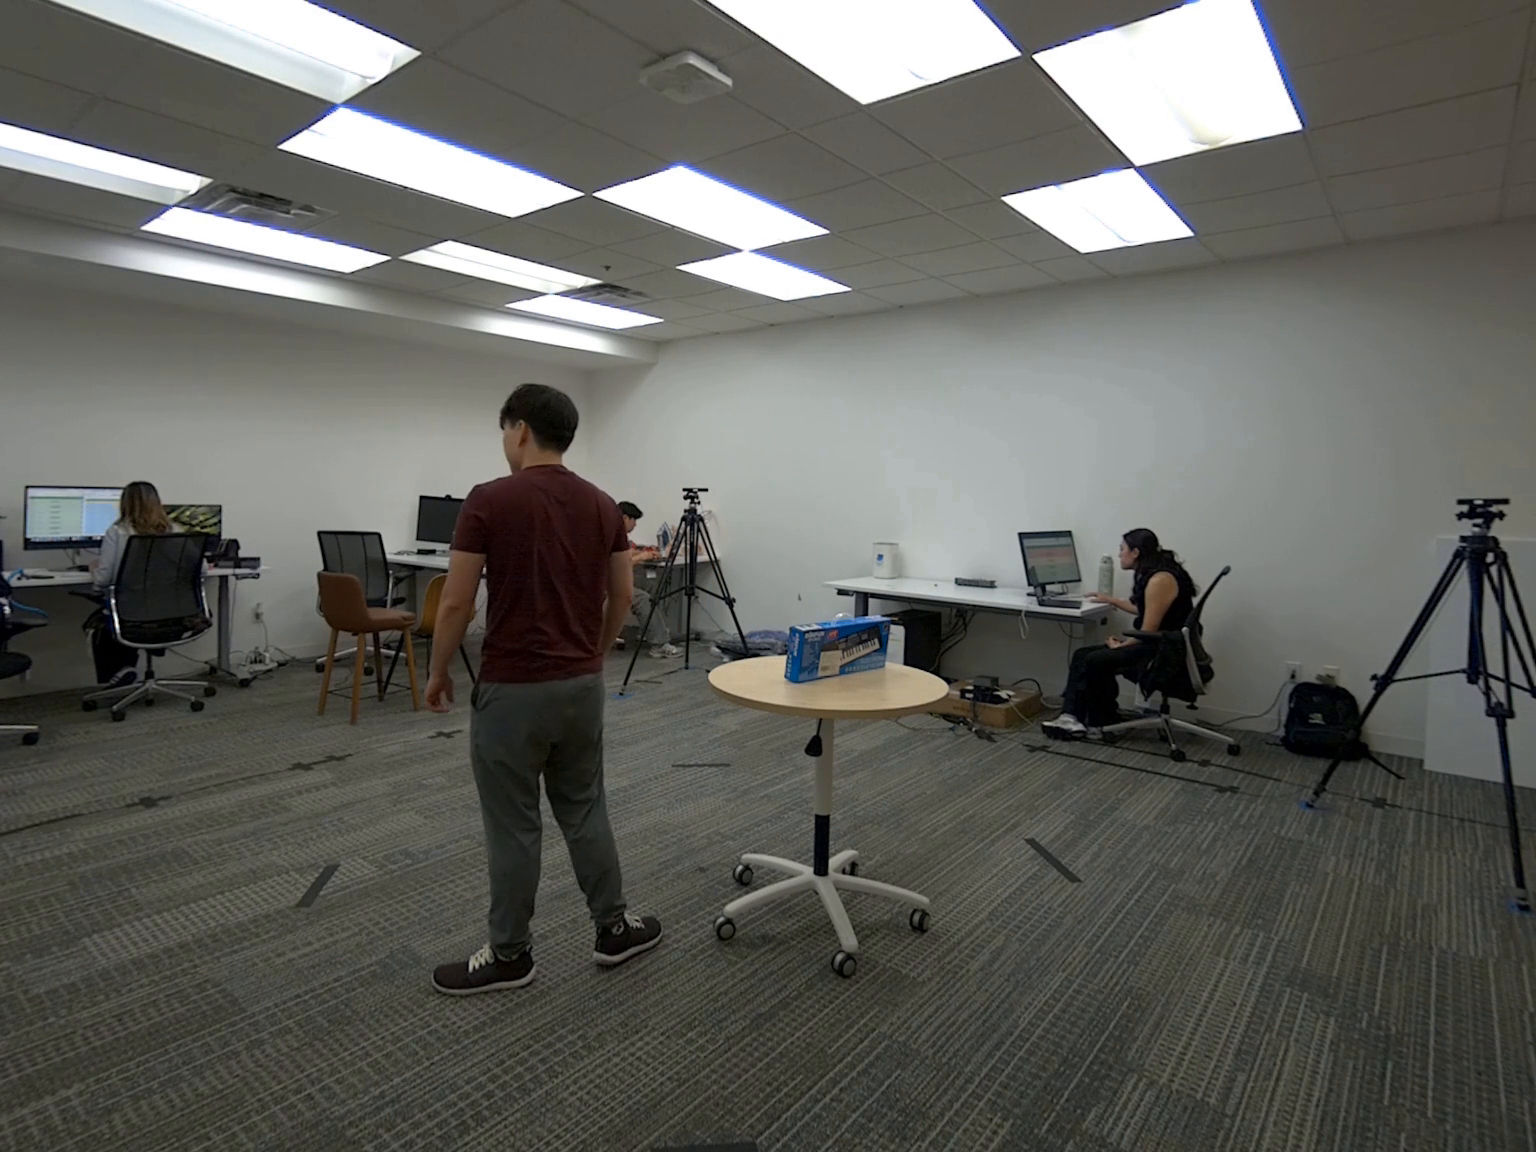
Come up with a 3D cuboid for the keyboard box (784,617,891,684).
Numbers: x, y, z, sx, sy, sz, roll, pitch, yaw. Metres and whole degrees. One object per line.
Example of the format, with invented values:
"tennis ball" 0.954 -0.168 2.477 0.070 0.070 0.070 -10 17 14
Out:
"keyboard box" 0.229 0.238 2.820 0.424 0.174 0.061 -4 13 -41
